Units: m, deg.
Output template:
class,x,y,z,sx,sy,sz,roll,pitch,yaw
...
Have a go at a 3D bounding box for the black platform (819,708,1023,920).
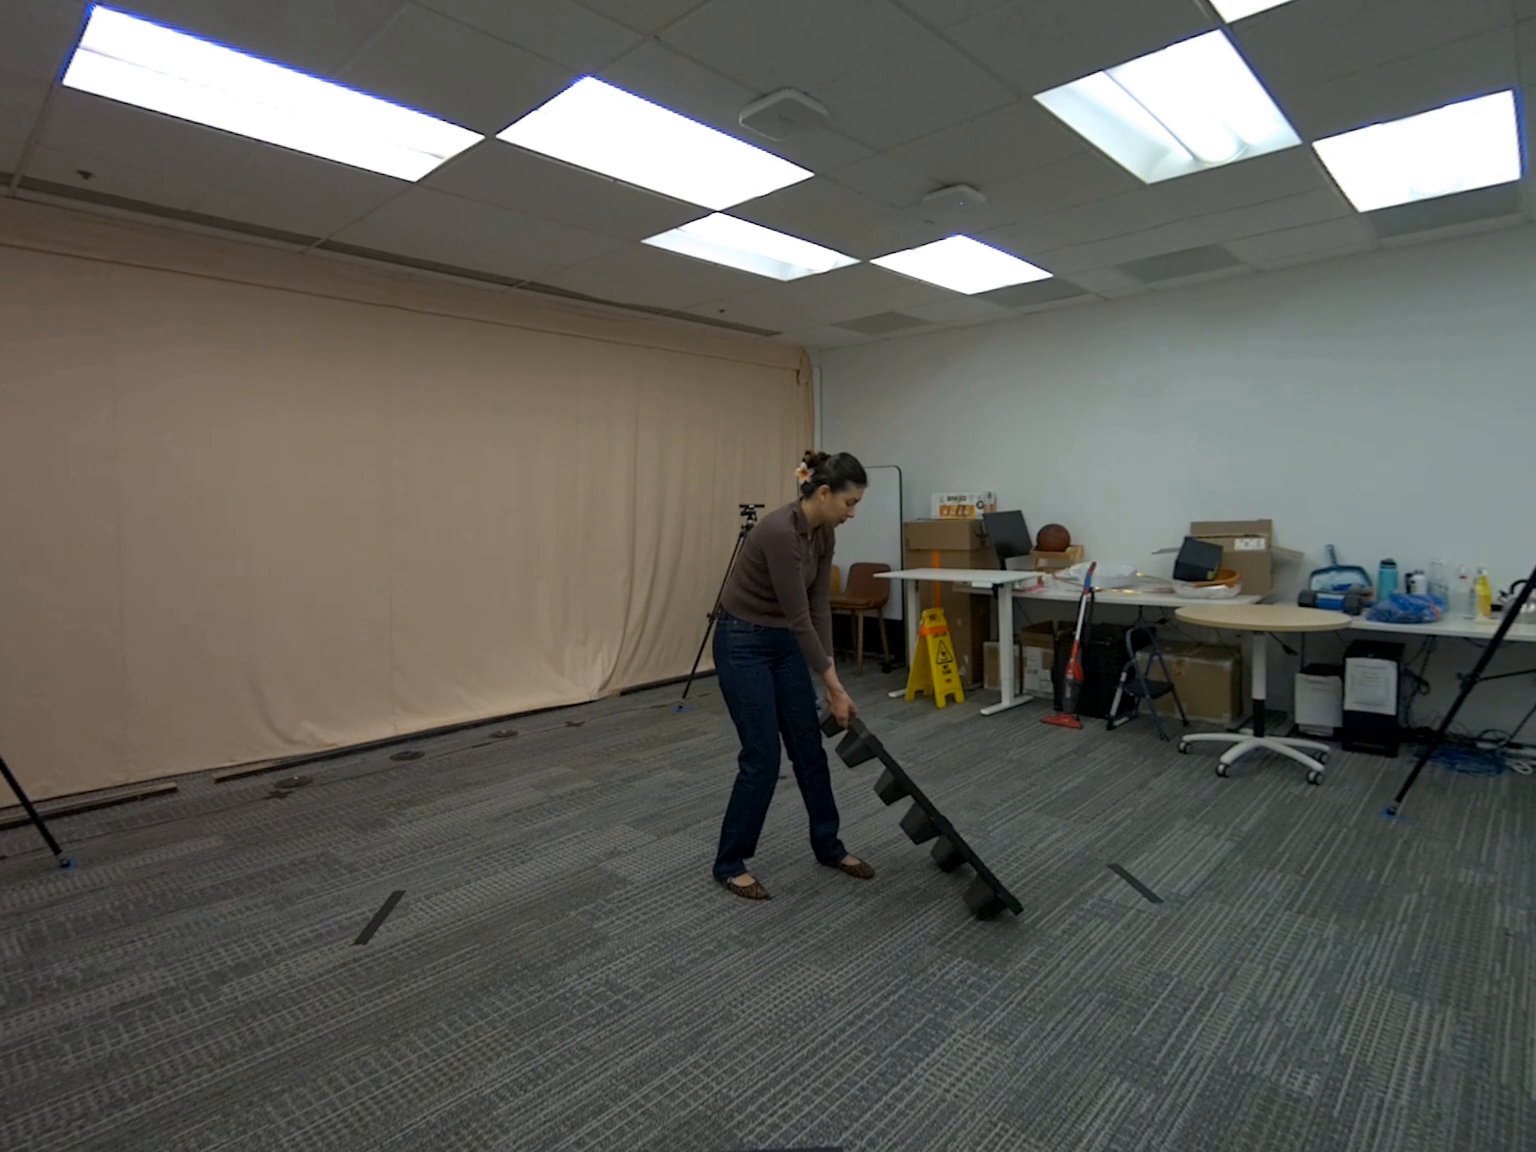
class,x,y,z,sx,sy,sz,roll,pitch,yaw
black platform,0.496,0.803,2.996,0.143,0.802,0.609,-40,5,-3
